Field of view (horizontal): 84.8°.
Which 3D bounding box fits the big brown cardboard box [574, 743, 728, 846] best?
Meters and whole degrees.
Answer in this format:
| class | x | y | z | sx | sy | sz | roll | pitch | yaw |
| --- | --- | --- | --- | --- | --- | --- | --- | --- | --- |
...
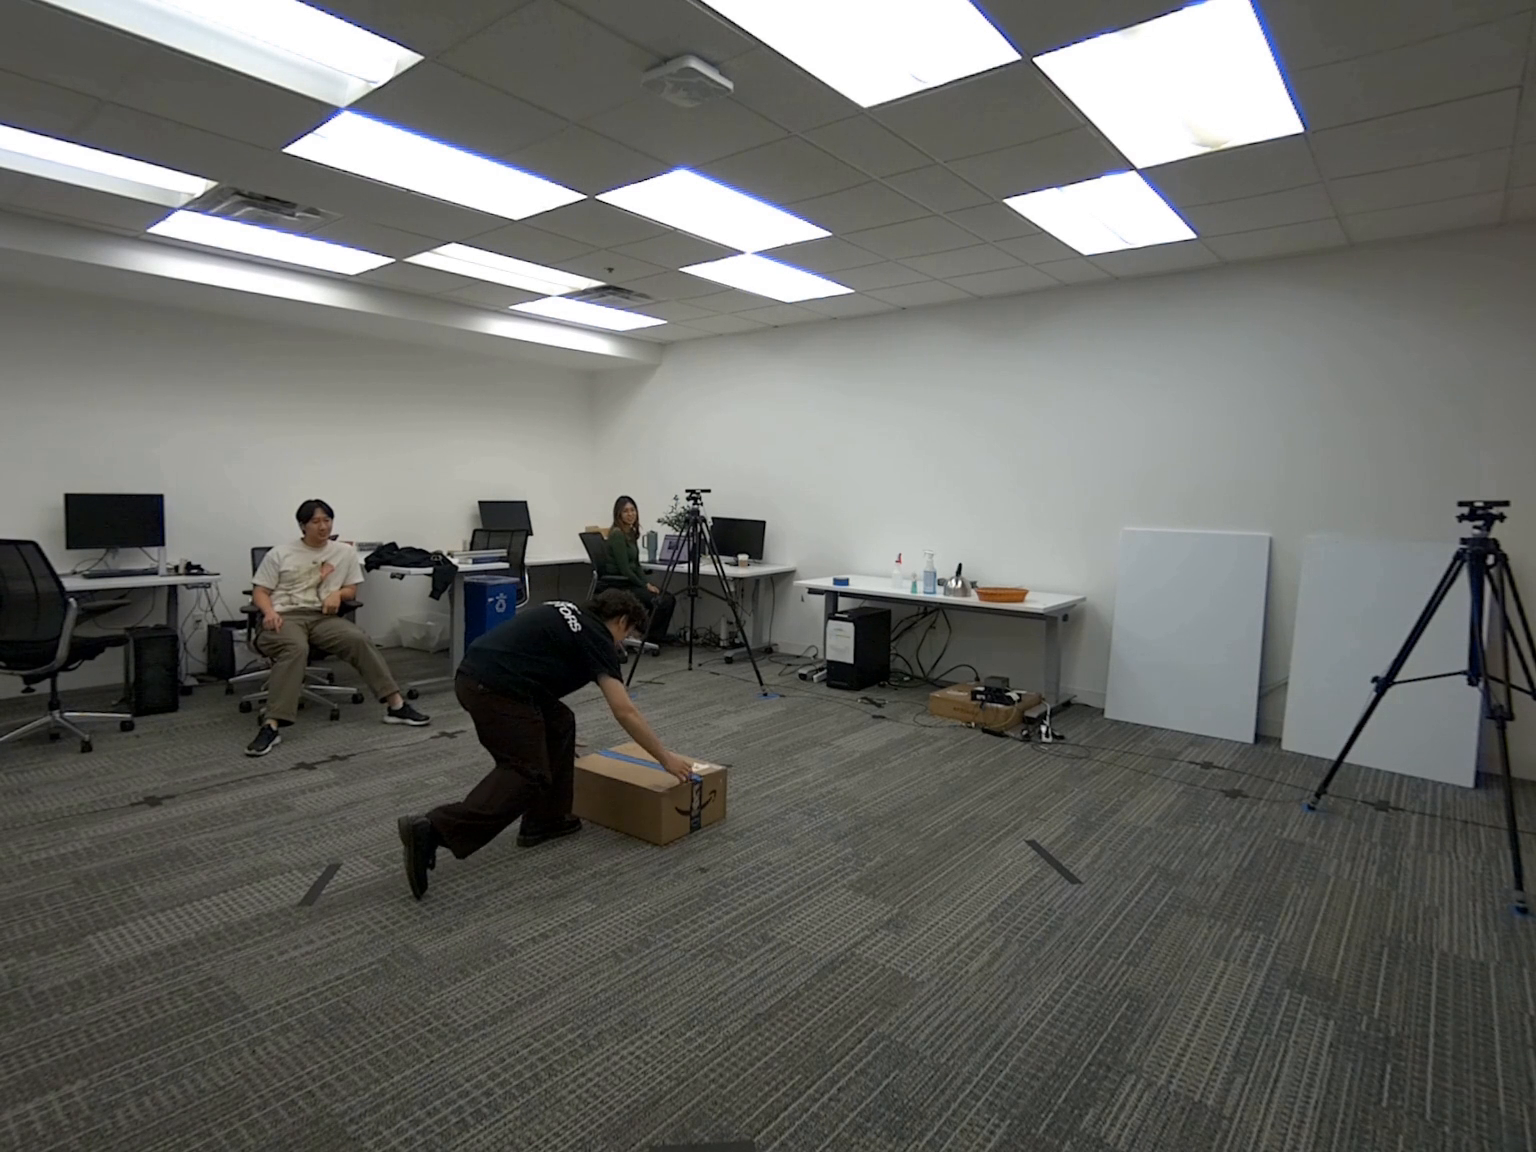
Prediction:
| class | x | y | z | sx | sy | sz | roll | pitch | yaw |
| --- | --- | --- | --- | --- | --- | --- | --- | --- | --- |
| big brown cardboard box | -0.533 | 0.906 | 3.624 | 0.608 | 0.232 | 0.406 | 3 | 5 | 36 |
